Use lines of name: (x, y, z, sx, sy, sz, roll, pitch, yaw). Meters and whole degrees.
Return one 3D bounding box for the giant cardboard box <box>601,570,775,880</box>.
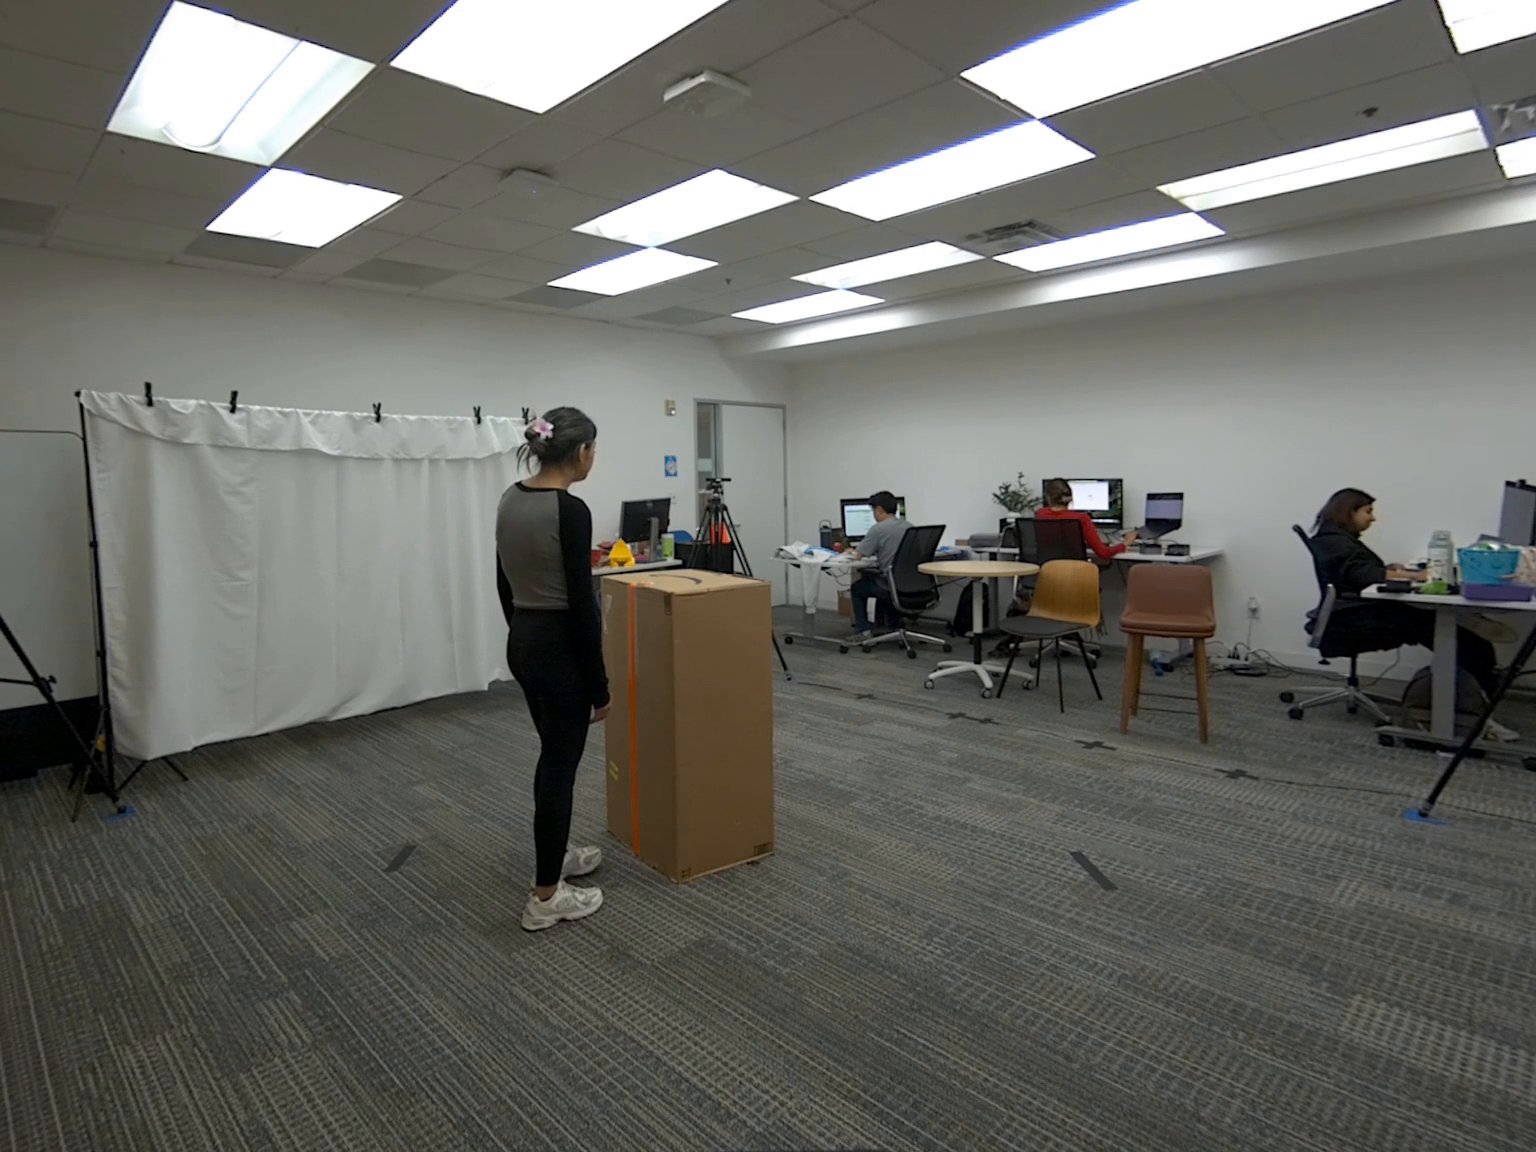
giant cardboard box: (-0.318, 0.521, 3.266, 0.435, 1.023, 0.601, -3, 5, -35)
